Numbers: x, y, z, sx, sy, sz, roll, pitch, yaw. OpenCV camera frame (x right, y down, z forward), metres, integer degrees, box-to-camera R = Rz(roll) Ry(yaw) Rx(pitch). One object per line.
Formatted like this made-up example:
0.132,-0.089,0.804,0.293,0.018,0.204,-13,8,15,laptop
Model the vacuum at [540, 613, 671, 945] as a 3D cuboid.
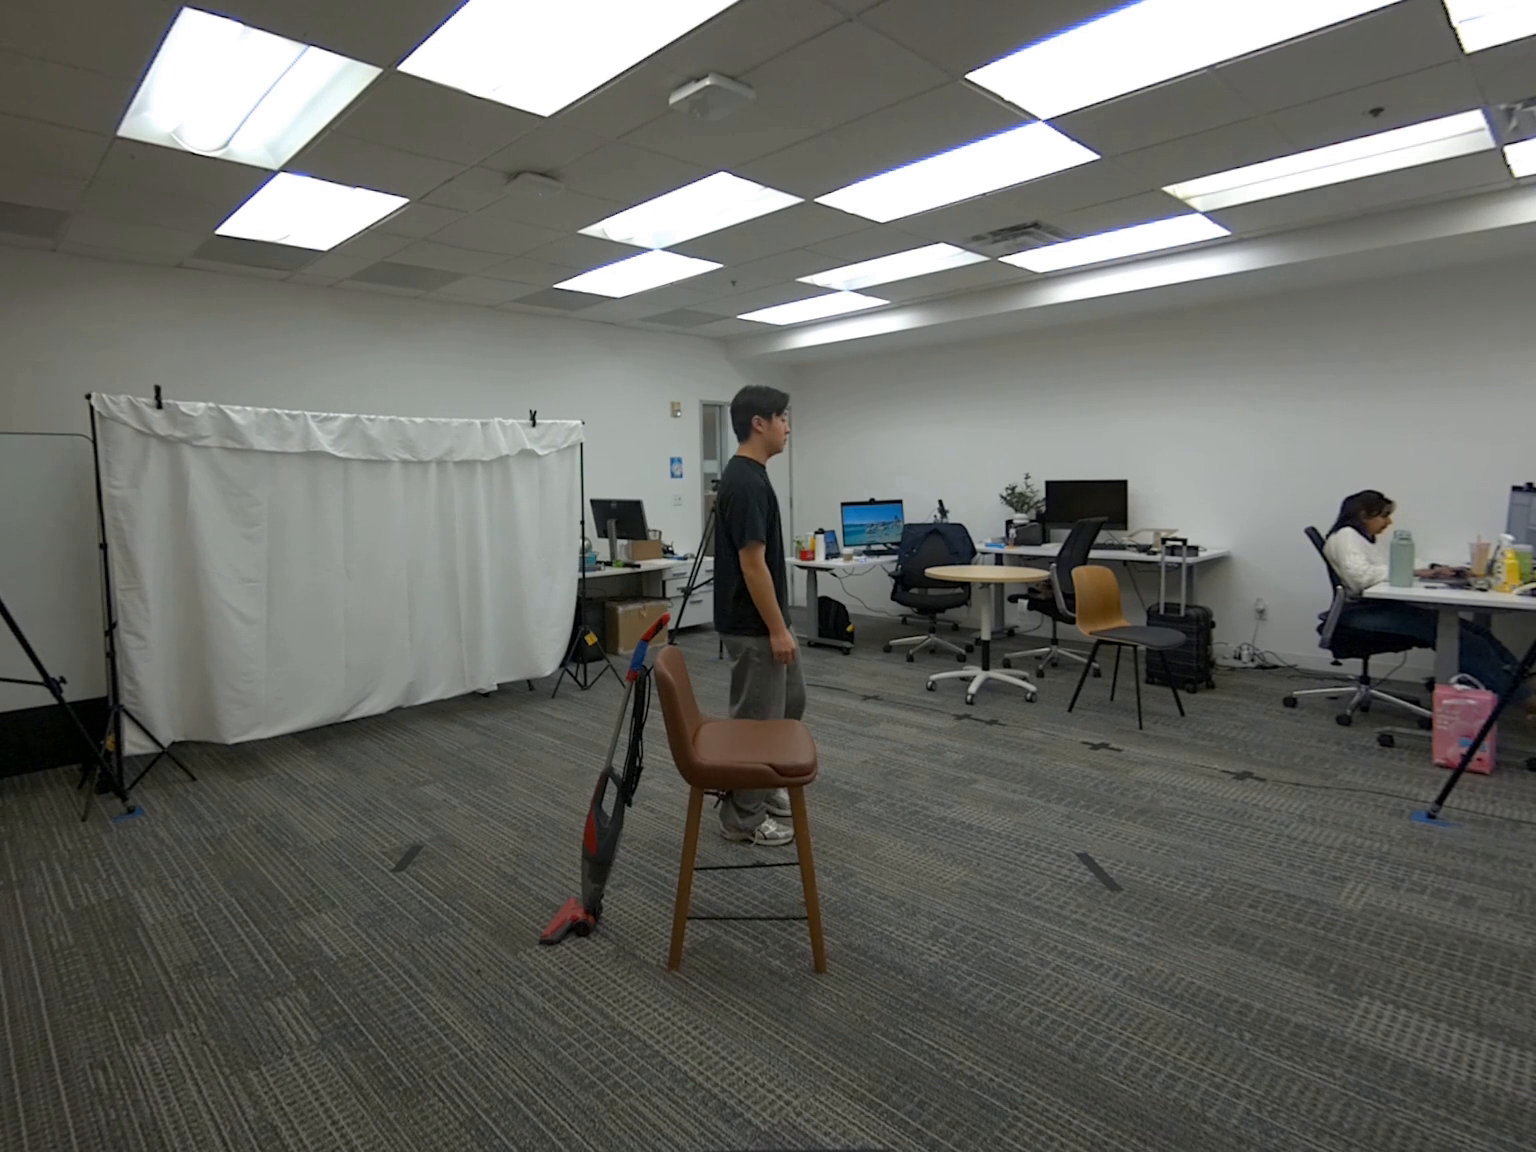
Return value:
-0.460,0.609,2.627,0.144,1.044,0.253,17,9,1,vacuum
